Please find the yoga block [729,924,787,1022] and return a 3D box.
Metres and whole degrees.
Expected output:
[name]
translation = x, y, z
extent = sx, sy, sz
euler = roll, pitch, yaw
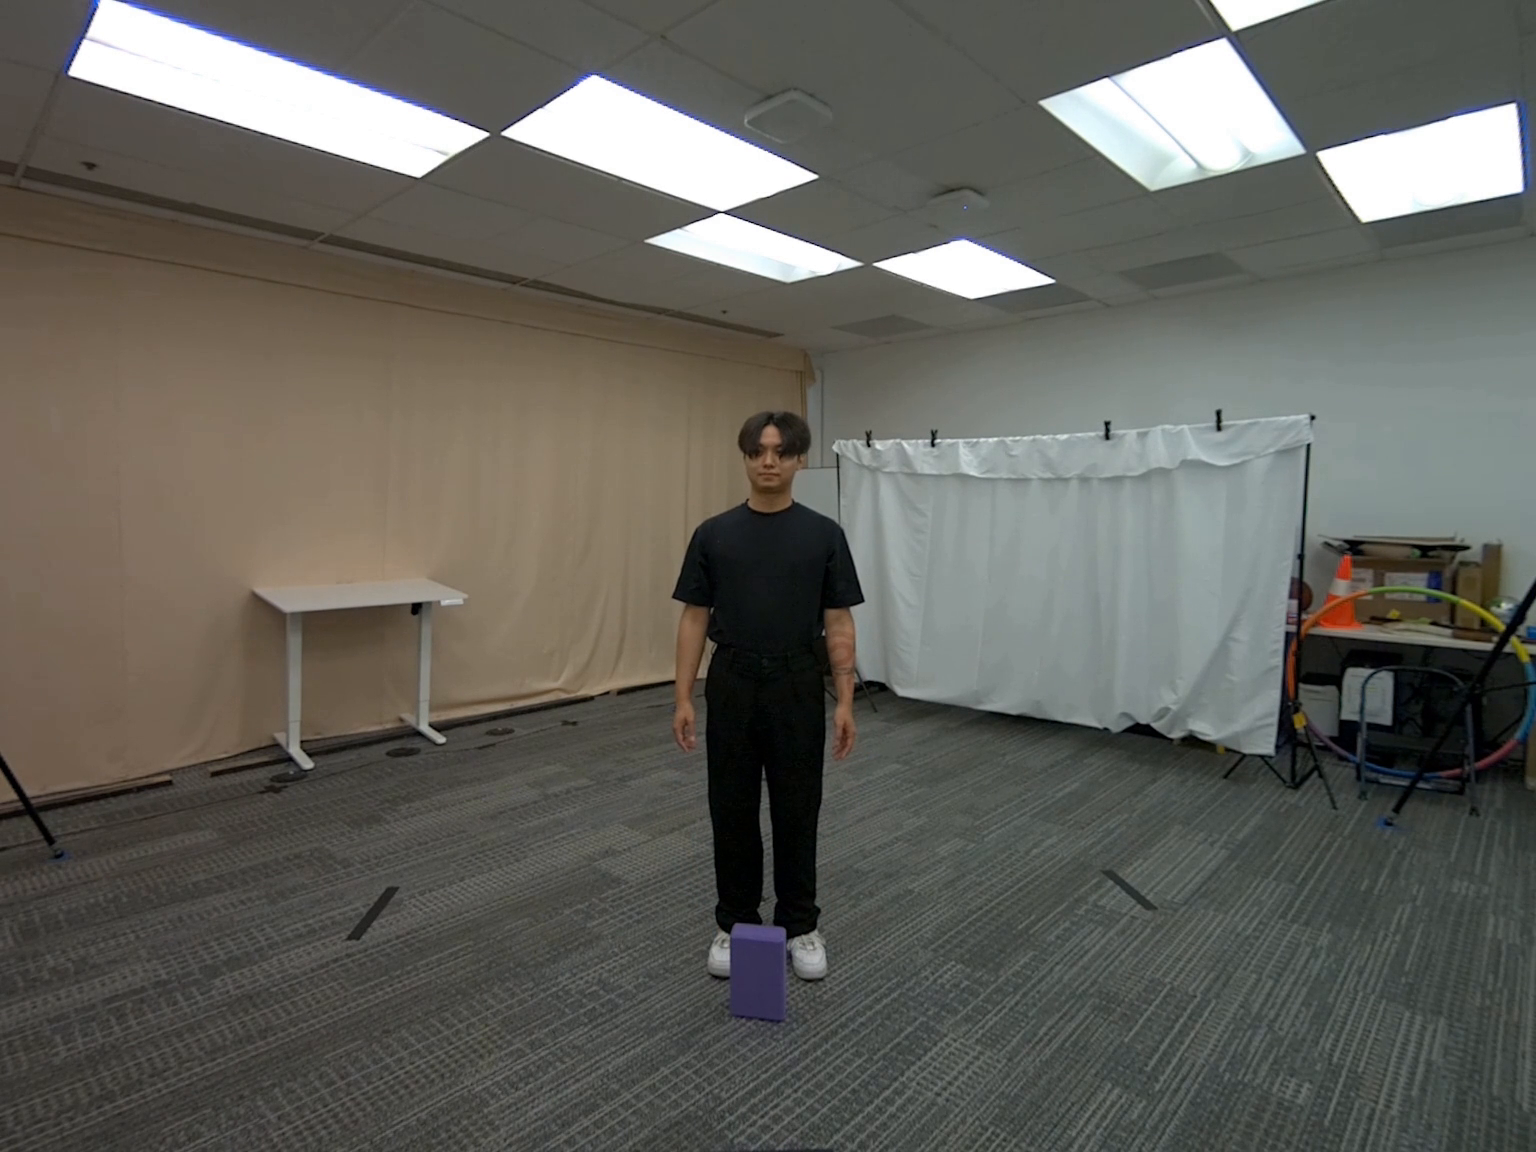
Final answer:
[yoga block]
translation = -0.027, 1.083, 2.311
extent = 0.150, 0.229, 0.076
euler = 1, 4, 9
